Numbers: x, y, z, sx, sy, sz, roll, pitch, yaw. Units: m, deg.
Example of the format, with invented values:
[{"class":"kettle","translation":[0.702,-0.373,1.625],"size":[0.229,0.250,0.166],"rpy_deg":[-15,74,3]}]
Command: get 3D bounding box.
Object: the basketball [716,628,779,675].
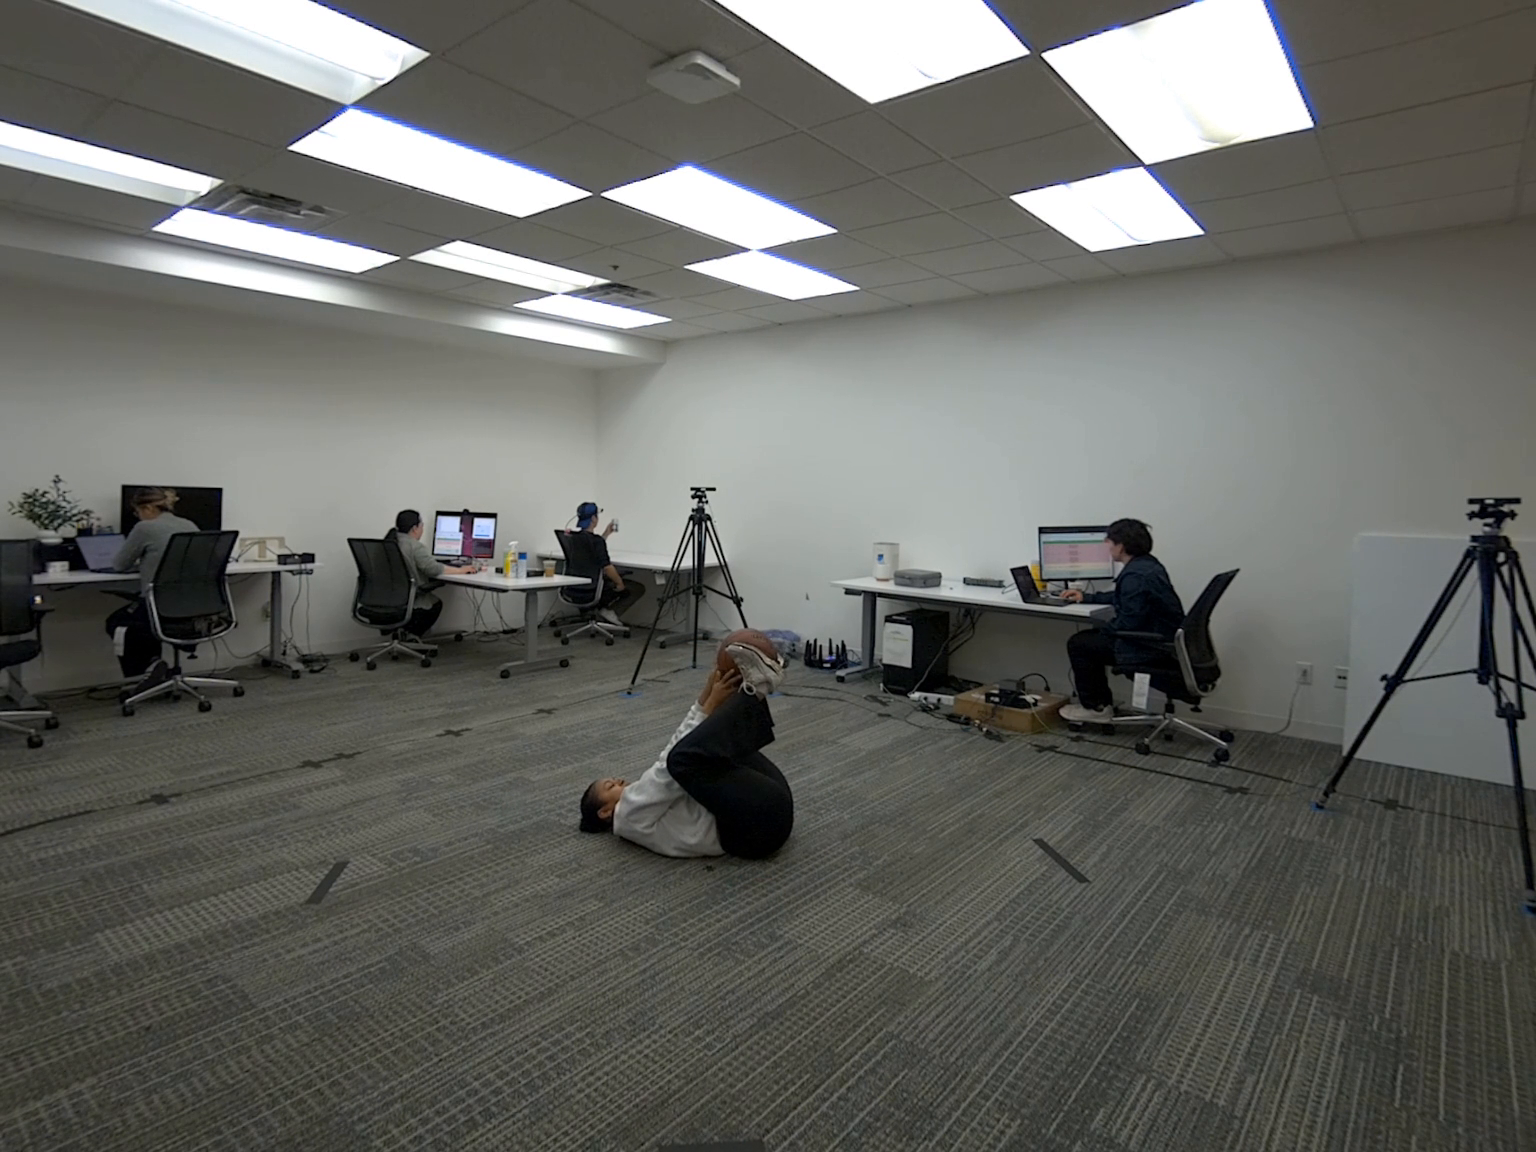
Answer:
[{"class":"basketball","translation":[-0.089,0.322,3.341],"size":[0.236,0.234,0.238],"rpy_deg":[-2,8,-2]}]
